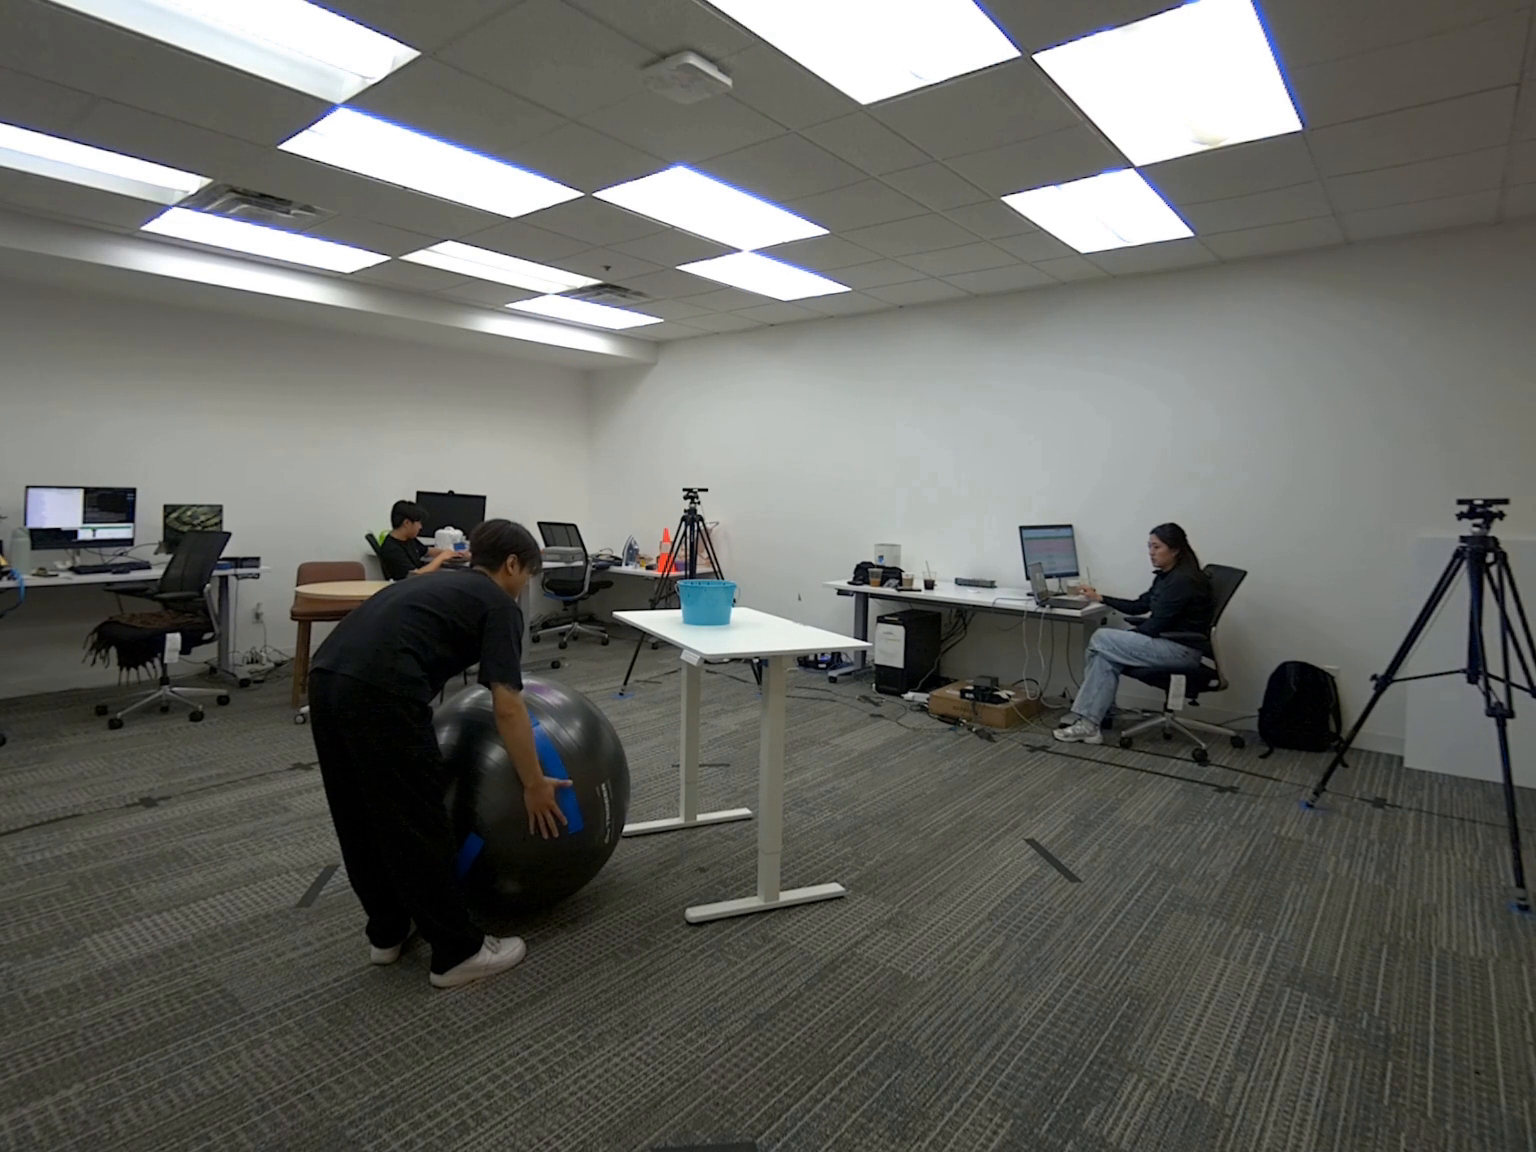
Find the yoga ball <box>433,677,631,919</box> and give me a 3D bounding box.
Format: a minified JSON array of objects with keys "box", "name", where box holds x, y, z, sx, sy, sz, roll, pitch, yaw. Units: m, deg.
[{"box":[-0.849,0.718,2.835,0.757,0.756,0.762,1,4,-2],"name":"yoga ball"}]
